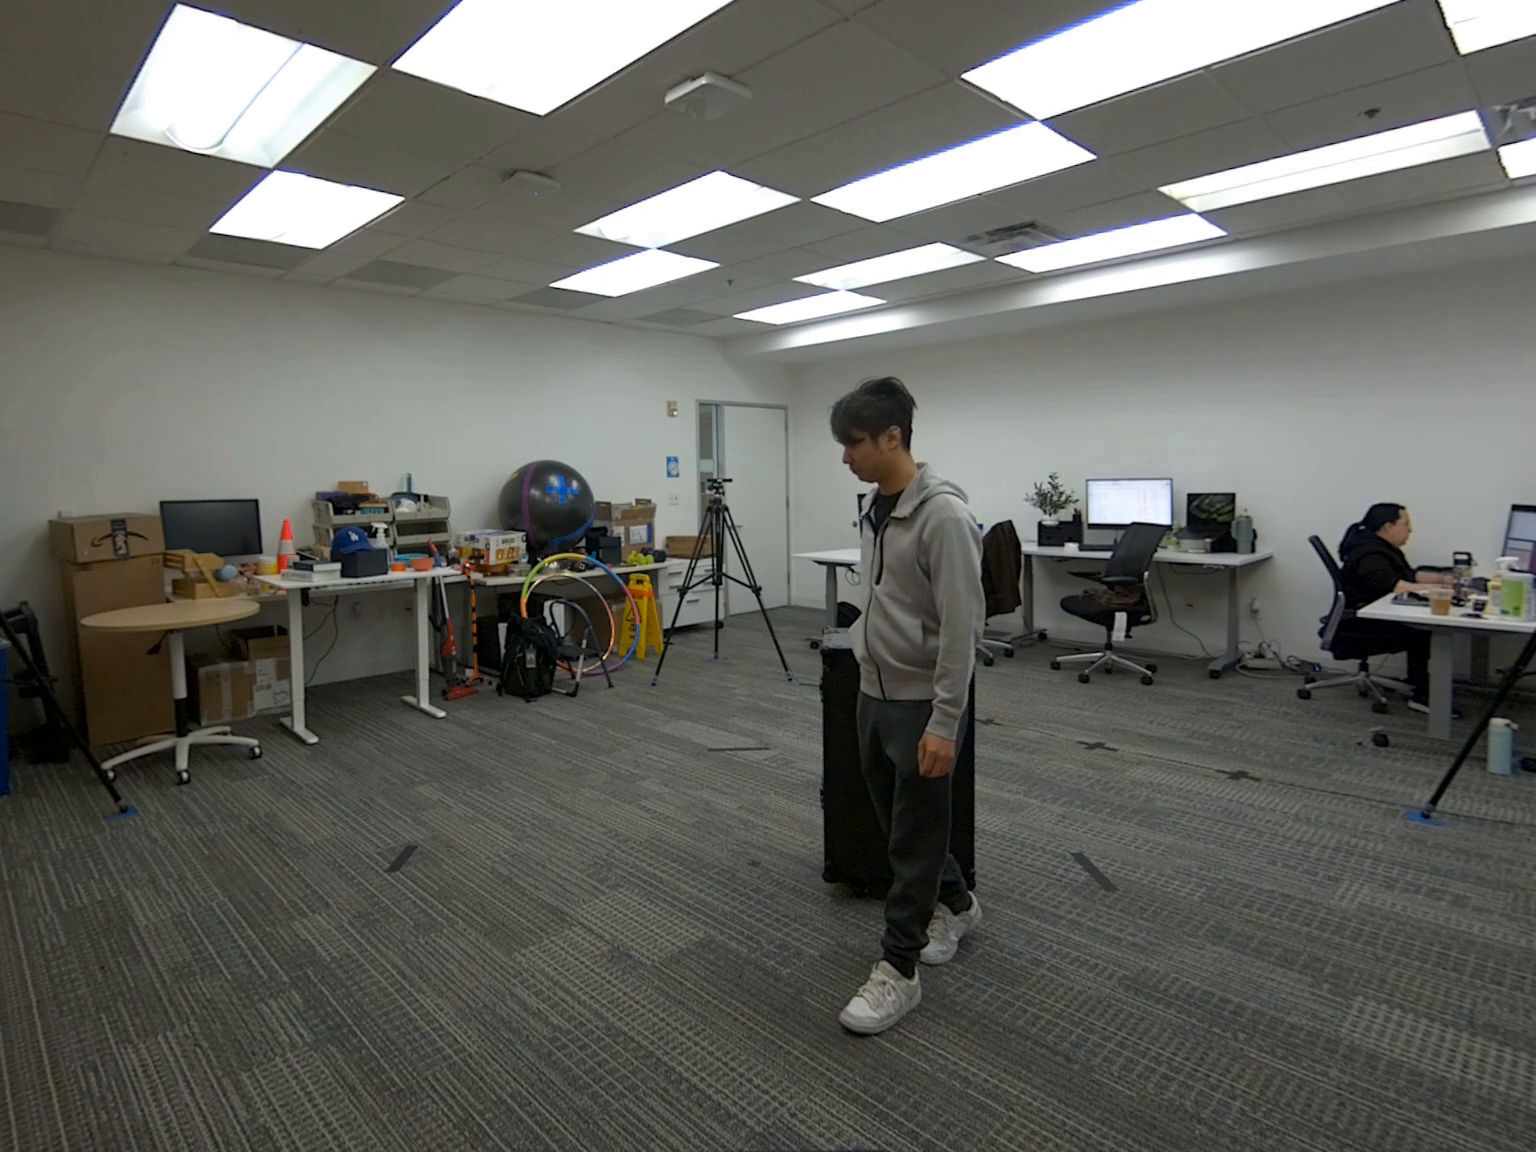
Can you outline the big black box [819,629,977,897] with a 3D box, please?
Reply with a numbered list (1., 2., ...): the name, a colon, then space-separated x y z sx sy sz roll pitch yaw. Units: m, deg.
1. big black box: 0.439 0.634 2.902 0.526 0.858 0.395 0 5 8
